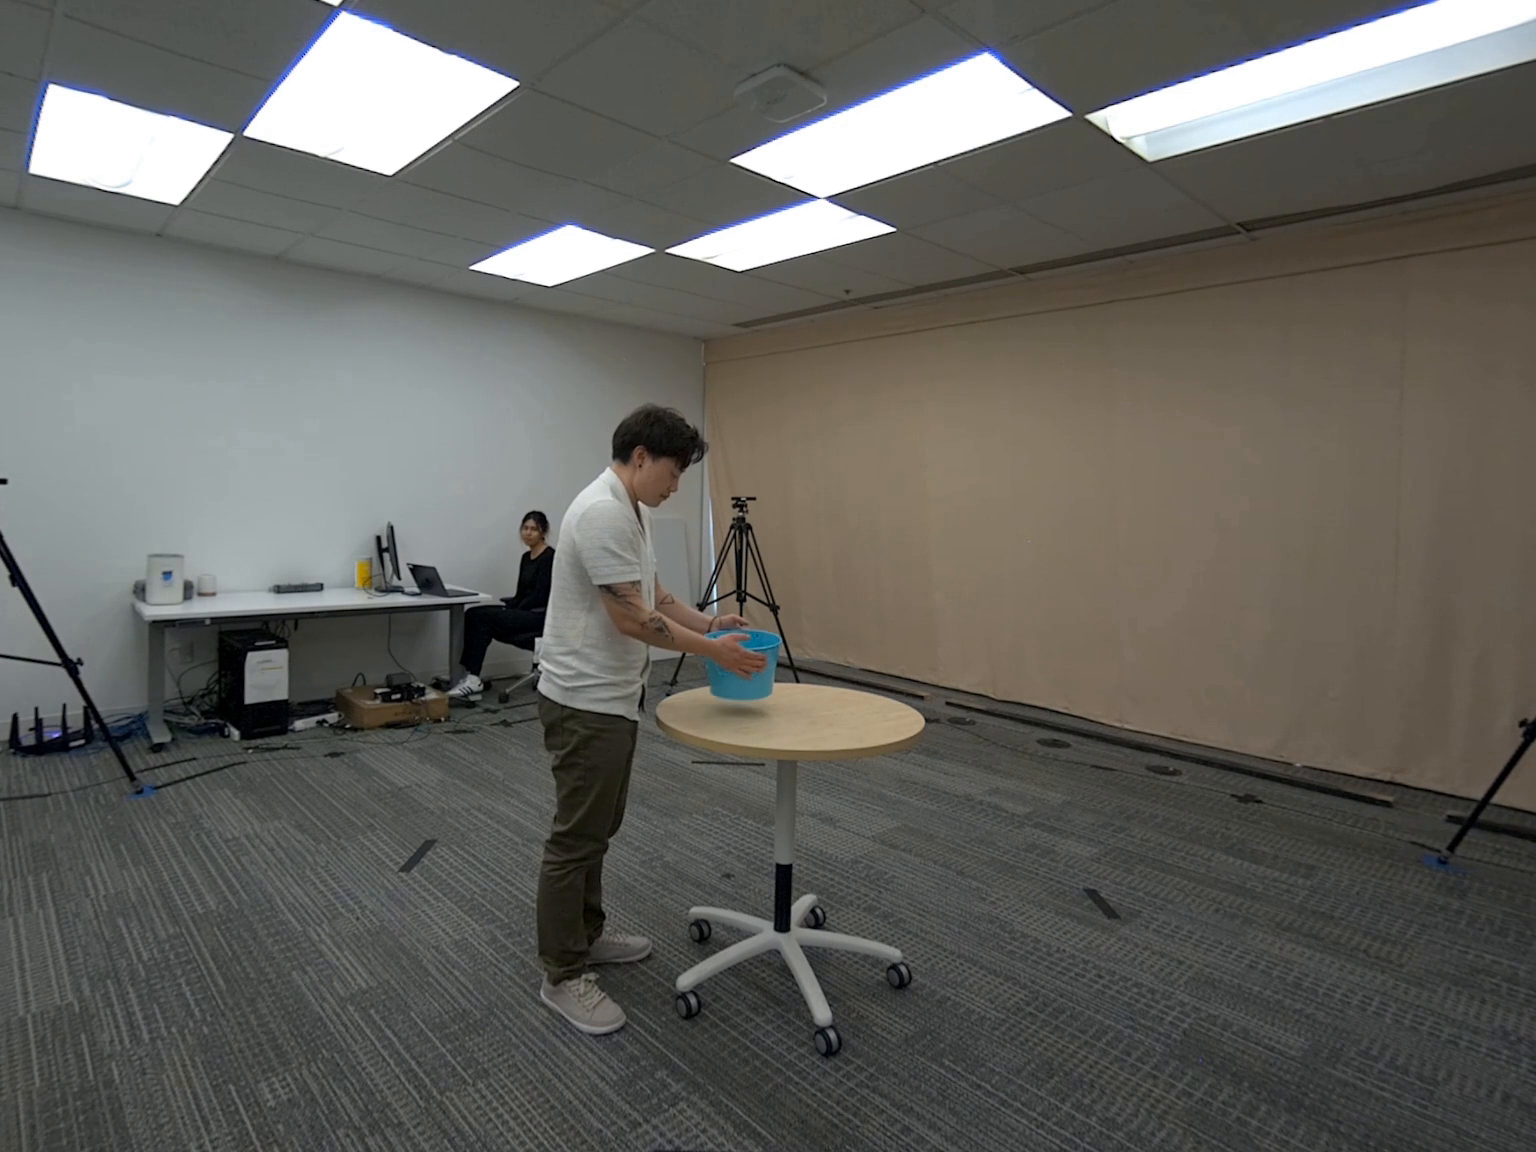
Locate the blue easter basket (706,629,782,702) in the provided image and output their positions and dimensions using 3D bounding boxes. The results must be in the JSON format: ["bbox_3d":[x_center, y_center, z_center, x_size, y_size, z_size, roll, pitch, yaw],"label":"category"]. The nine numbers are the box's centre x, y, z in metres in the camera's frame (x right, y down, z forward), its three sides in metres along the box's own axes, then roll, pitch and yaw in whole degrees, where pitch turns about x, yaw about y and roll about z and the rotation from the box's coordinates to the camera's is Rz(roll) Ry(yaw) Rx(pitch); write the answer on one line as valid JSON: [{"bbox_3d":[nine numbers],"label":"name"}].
[{"bbox_3d":[-0.107,0.260,2.399,0.243,0.155,0.245,0,9,-1],"label":"blue easter basket"}]
